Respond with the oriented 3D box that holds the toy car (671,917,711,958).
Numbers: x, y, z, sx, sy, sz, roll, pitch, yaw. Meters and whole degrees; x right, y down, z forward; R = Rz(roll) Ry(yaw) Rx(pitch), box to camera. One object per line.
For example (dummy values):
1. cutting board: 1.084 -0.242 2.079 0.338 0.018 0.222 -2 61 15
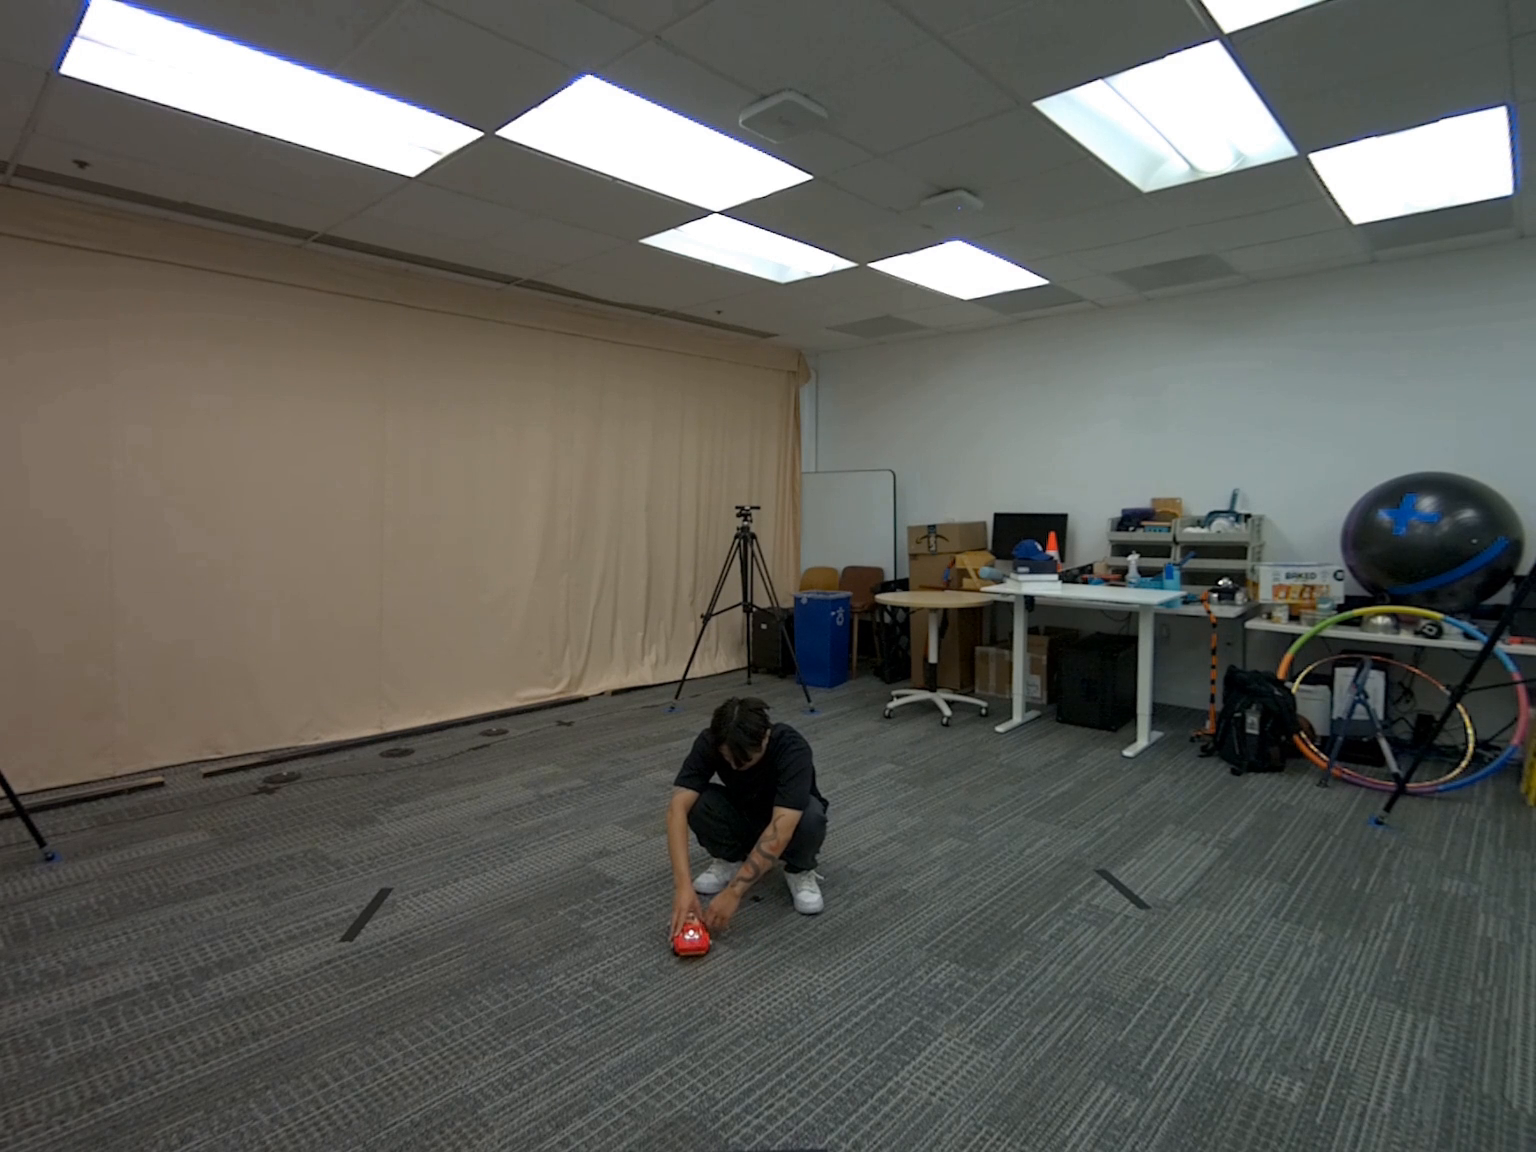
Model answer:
1. toy car: -0.249 1.136 2.673 0.129 0.083 0.255 -1 -6 -9
